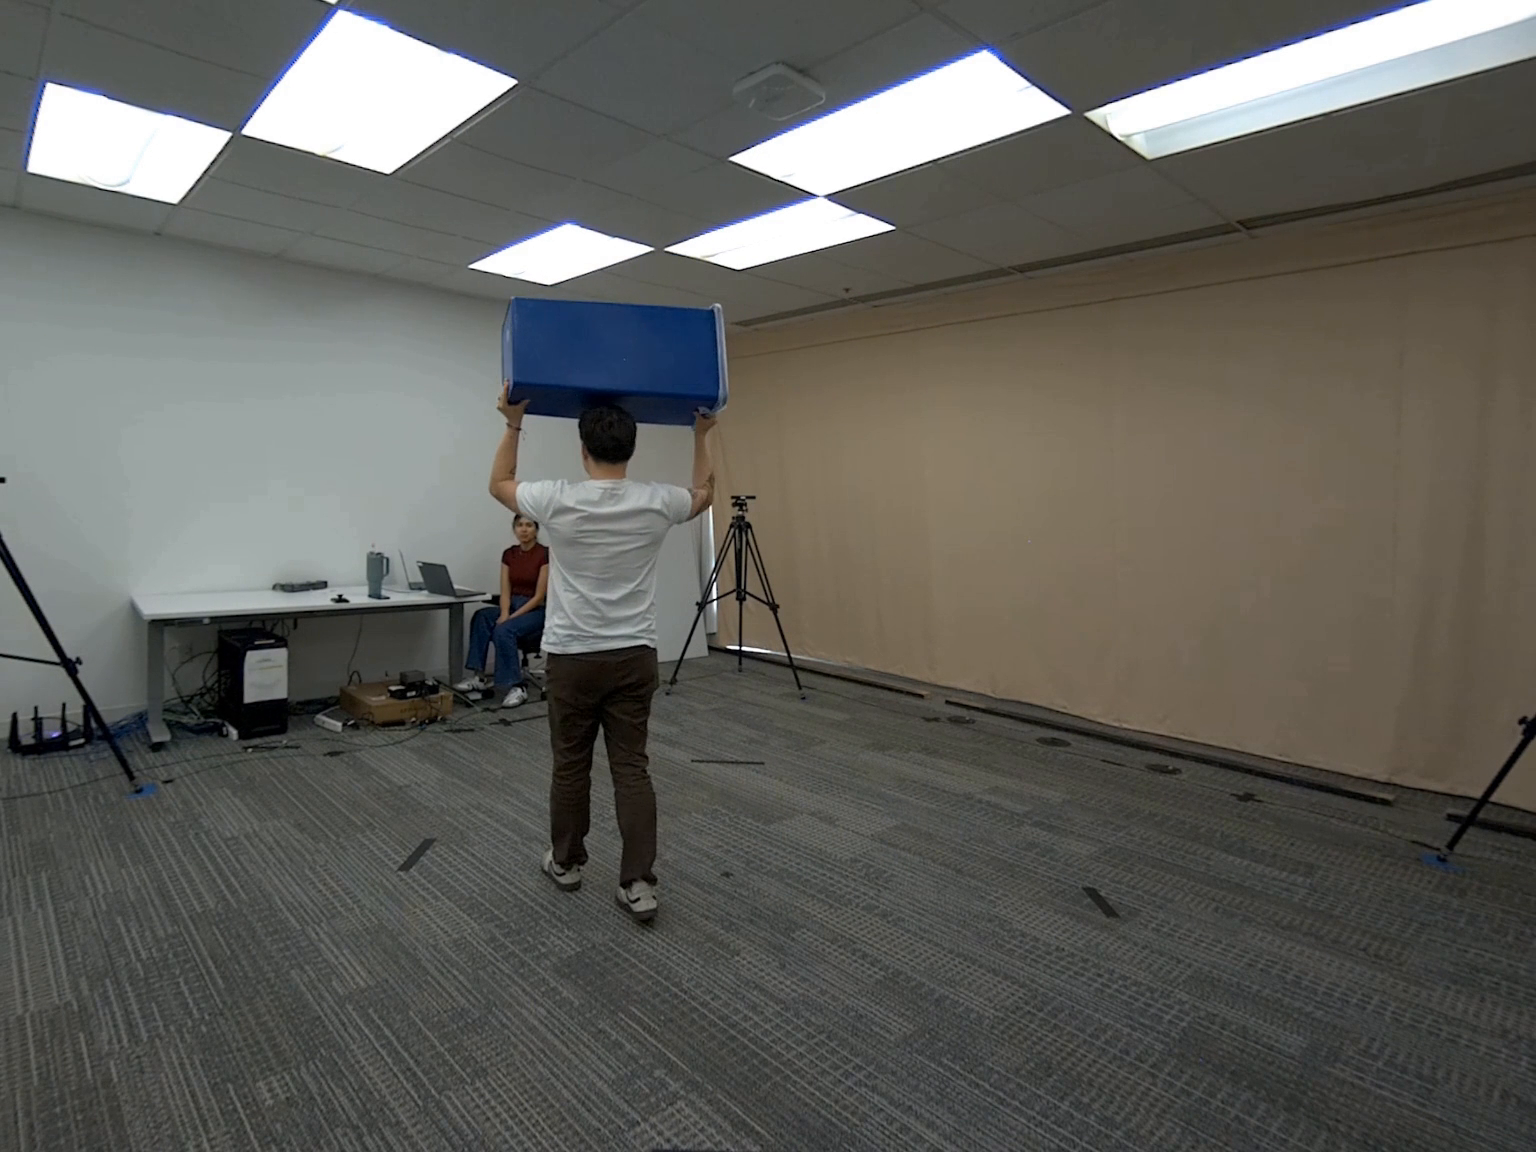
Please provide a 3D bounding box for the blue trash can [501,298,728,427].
[{"bbox_3d":[-0.544,-0.740,2.932,0.702,0.380,0.378,-1,-7,-22],"label":"blue trash can"}]
